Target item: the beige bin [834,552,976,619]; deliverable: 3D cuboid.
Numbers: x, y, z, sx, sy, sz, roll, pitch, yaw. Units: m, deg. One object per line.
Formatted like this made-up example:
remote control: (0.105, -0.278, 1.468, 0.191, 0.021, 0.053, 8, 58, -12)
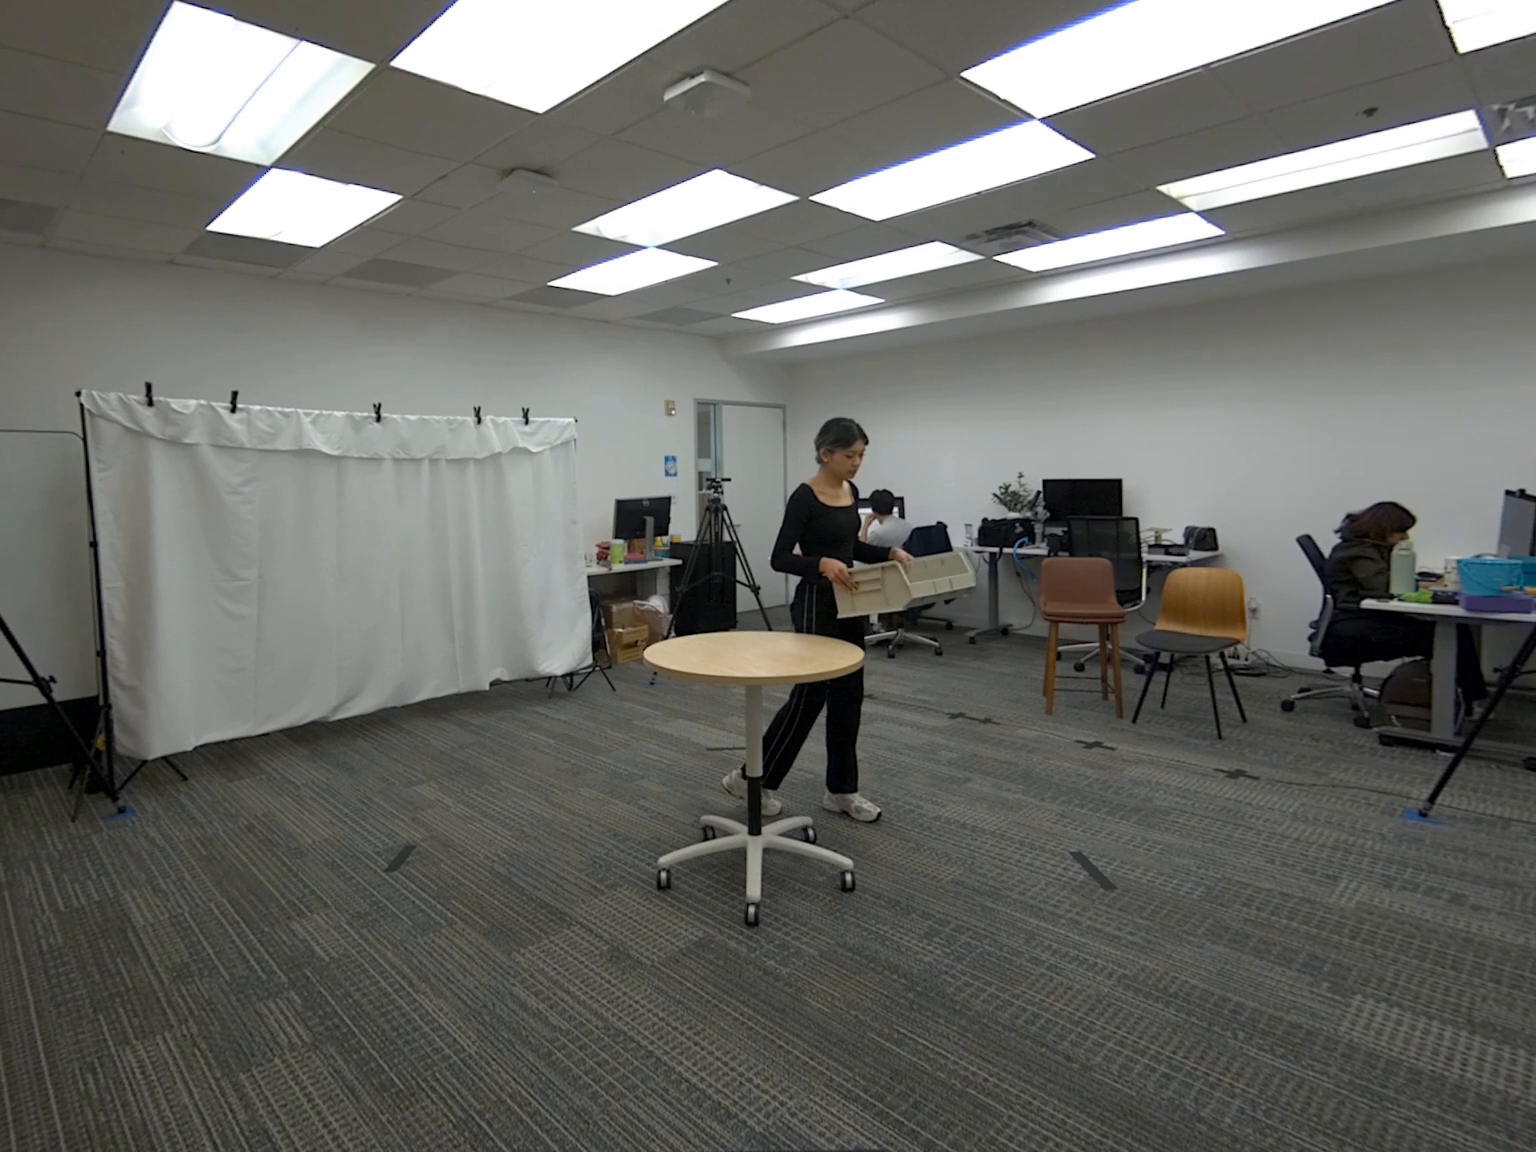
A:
beige bin: (0.510, 0.031, 3.265, 0.412, 0.189, 0.385, -9, -2, -42)
